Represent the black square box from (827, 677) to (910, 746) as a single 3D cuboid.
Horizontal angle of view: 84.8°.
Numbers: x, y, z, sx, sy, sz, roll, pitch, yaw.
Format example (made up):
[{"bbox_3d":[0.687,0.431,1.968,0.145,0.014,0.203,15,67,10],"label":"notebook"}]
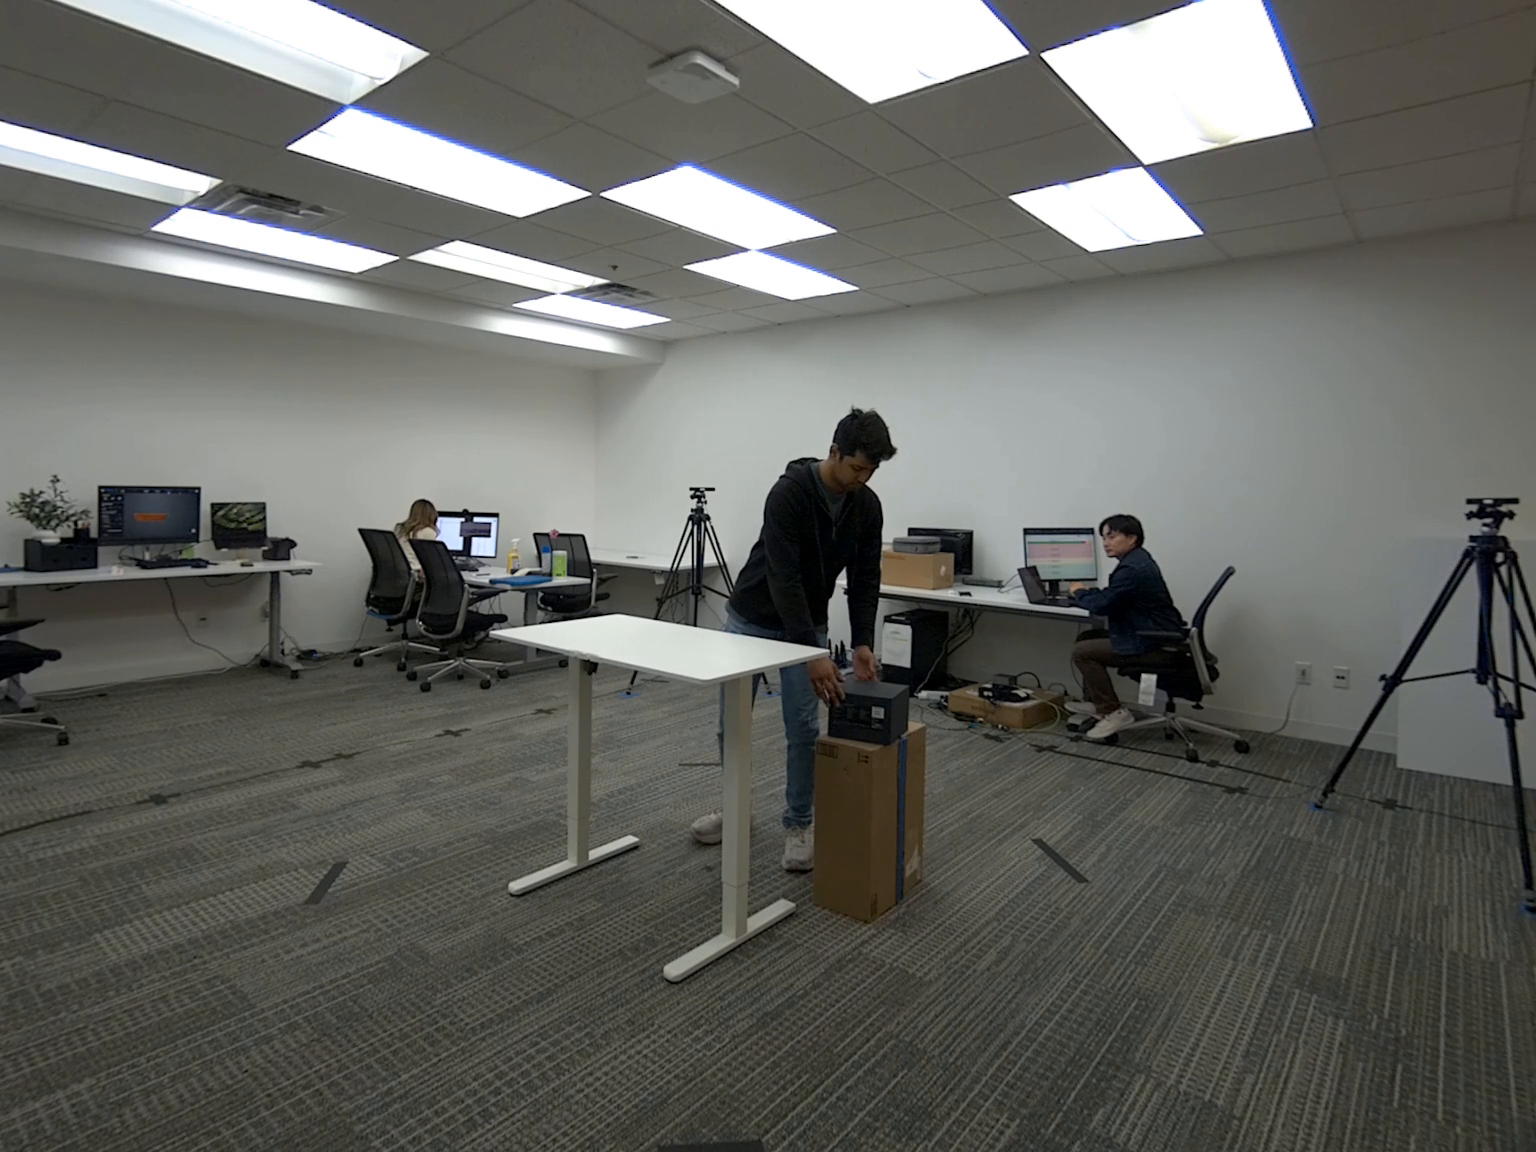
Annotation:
[{"bbox_3d":[0.345,0.451,2.895,0.223,0.155,0.223,3,5,26],"label":"black square box"}]
